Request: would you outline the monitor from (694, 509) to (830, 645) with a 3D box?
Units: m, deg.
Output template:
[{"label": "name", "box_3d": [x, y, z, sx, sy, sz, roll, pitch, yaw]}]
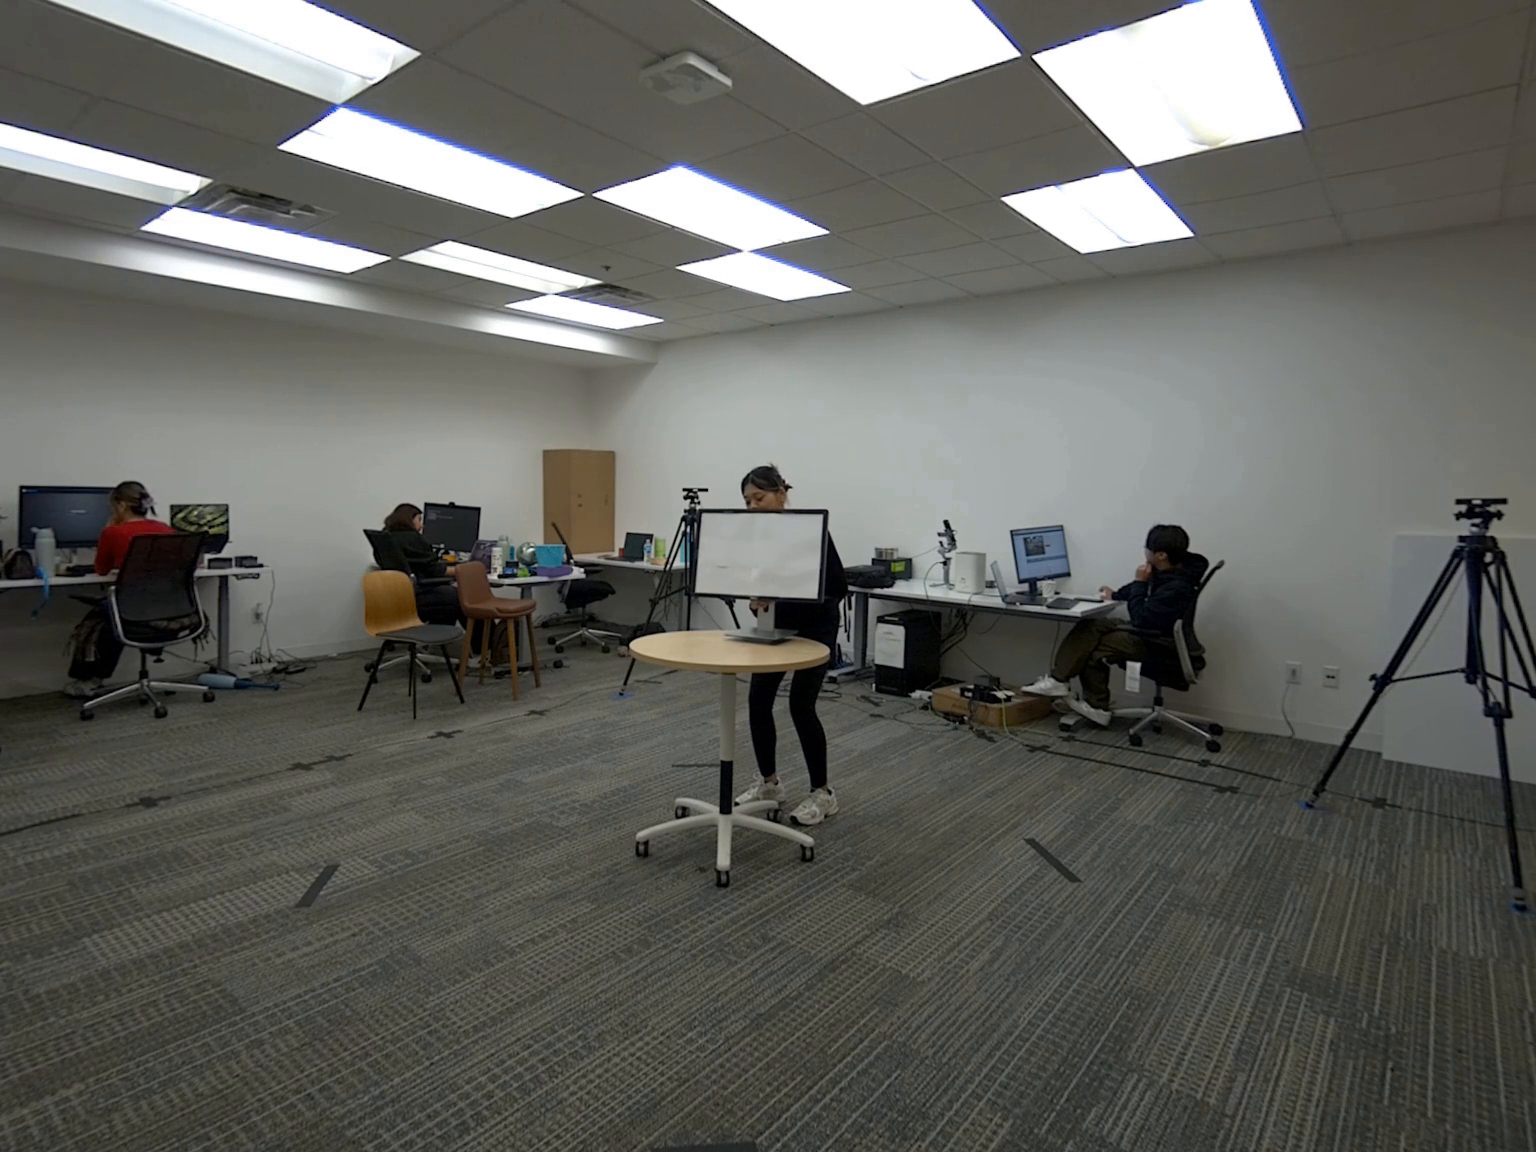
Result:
[{"label": "monitor", "box_3d": [-0.035, -0.012, 3.418, 0.552, 0.519, 0.184, 2, 7, 23]}]
